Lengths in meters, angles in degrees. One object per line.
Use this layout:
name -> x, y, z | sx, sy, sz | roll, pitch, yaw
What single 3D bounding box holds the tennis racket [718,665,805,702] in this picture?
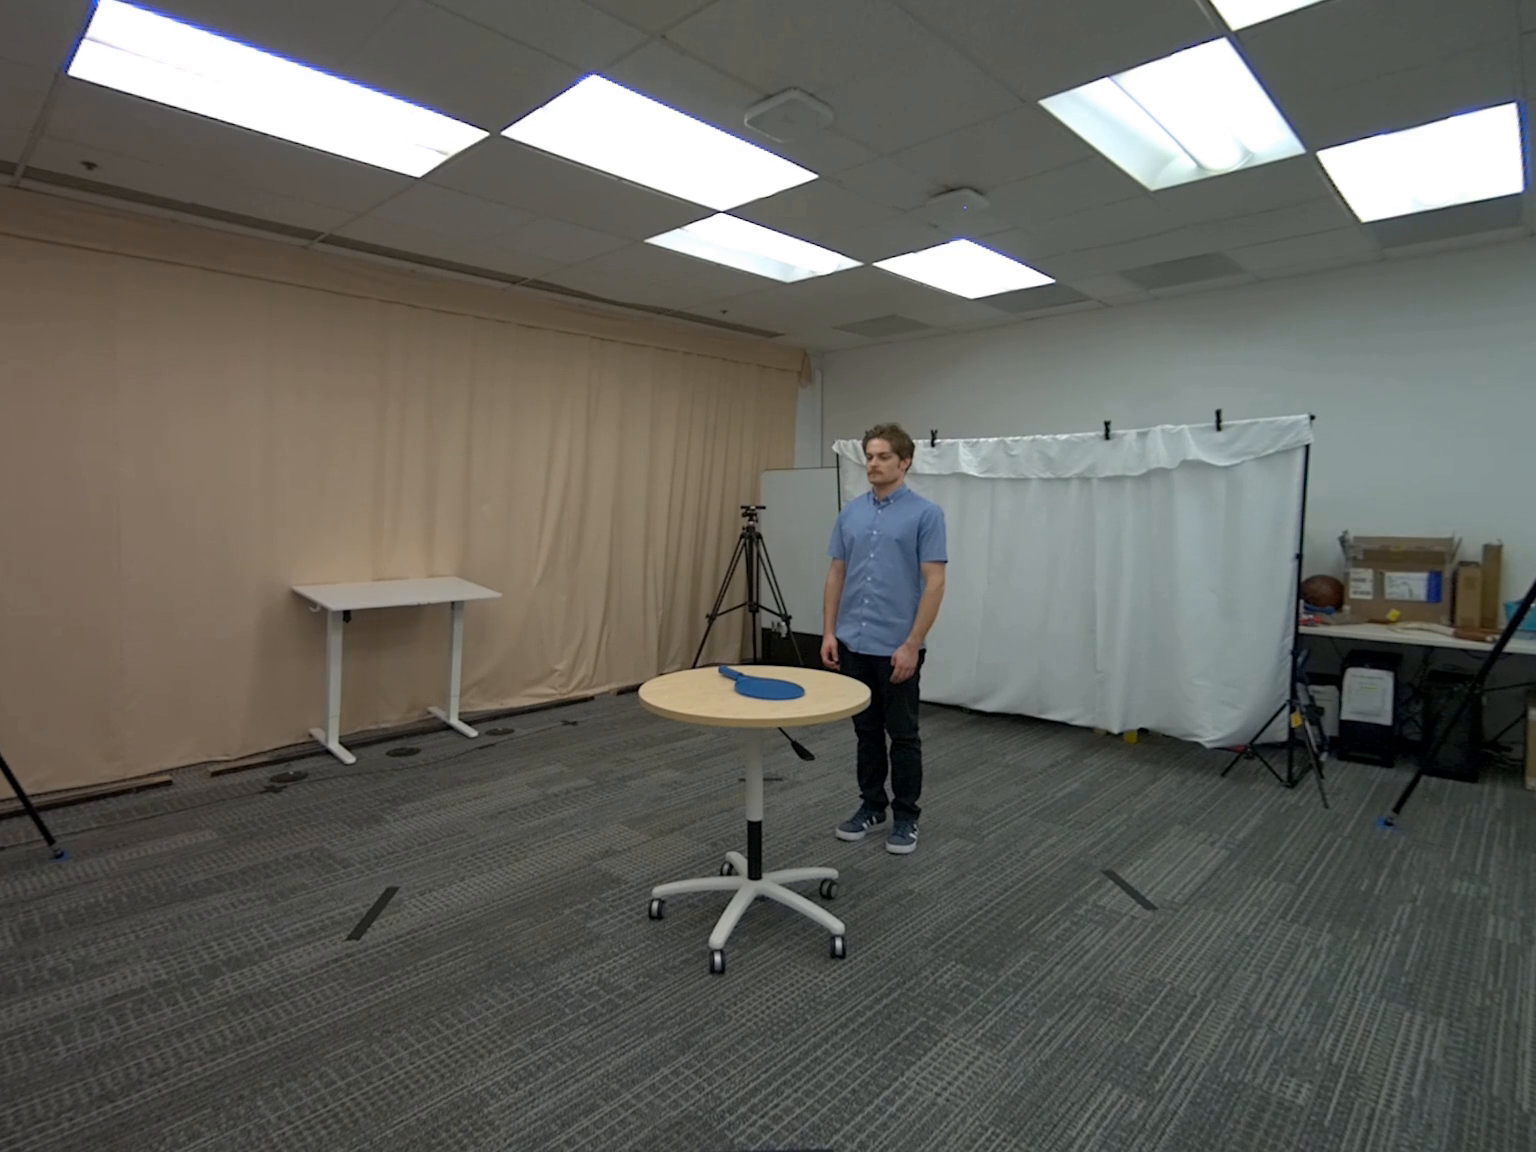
tennis racket -> -0.034, 0.365, 2.828 | 0.208, 0.031, 0.447 | -5, 8, -33
